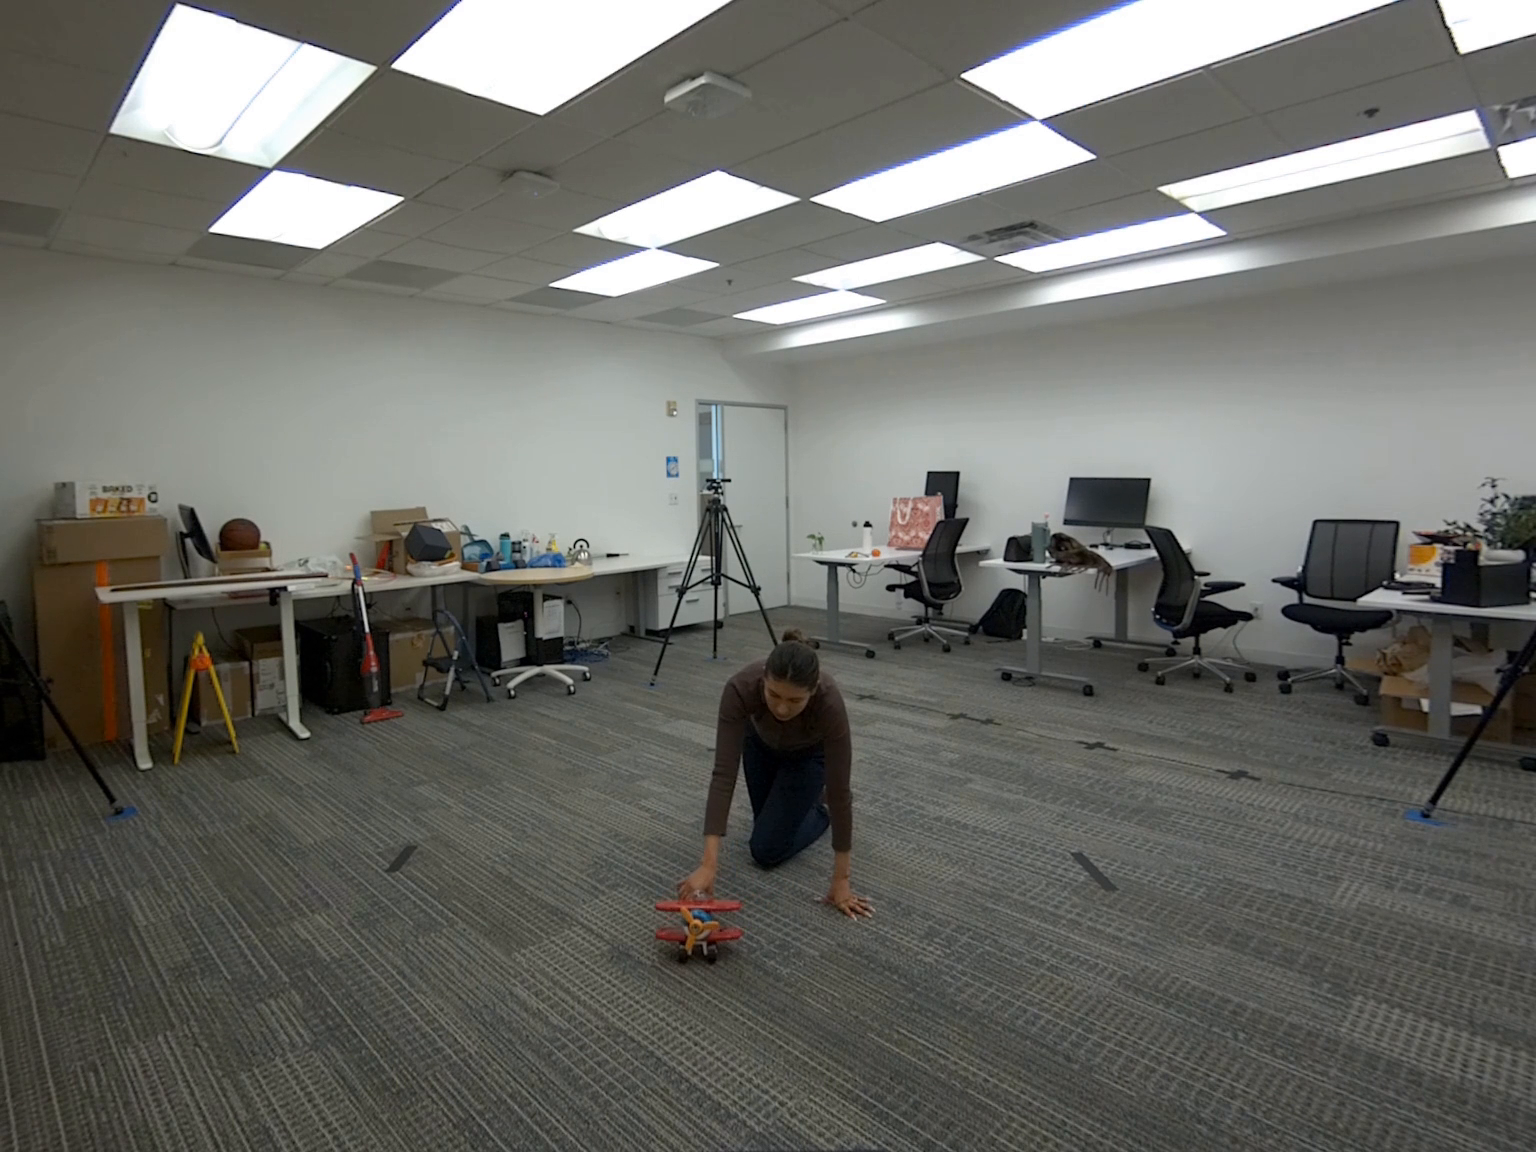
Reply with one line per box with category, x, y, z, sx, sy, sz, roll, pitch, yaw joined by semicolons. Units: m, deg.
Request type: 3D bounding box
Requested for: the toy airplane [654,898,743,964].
toy airplane;-0.224;1.040;2.566;0.245;0.155;0.266;-4;8;-28
